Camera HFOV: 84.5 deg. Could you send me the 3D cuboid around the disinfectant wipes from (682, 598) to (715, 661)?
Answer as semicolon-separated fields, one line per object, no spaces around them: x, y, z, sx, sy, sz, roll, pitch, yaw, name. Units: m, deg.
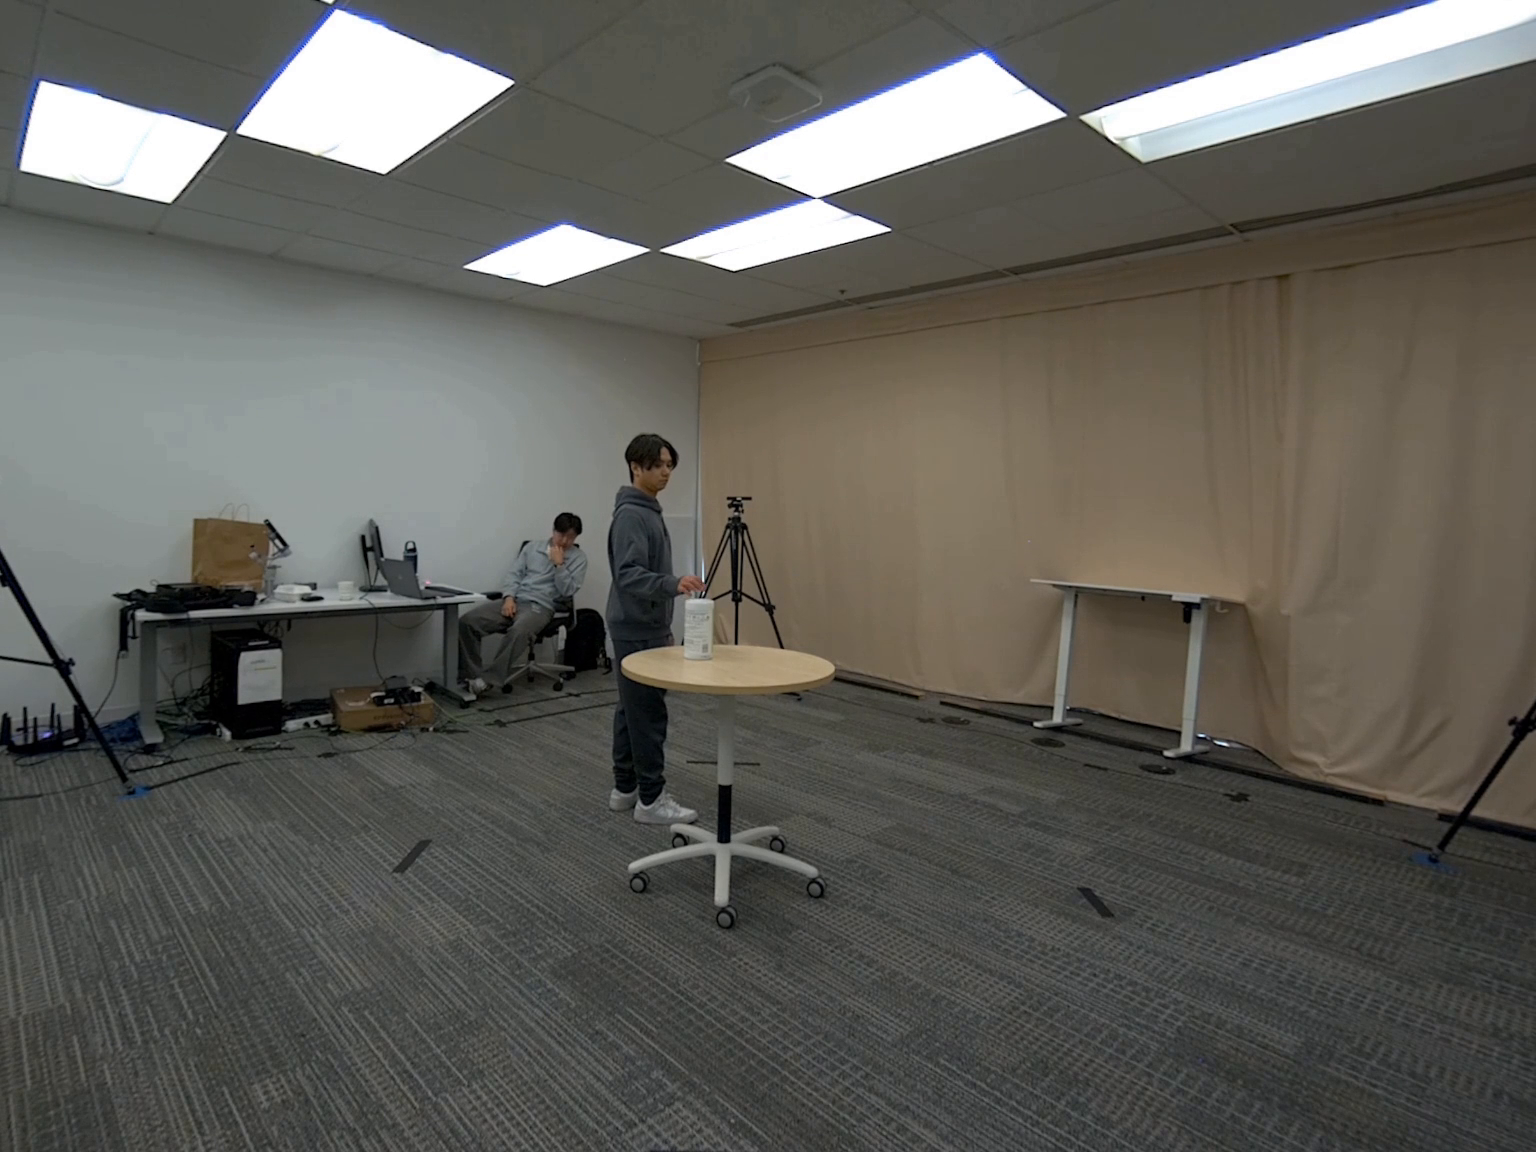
-0.259;0.200;3.116;0.118;0.217;0.118;1;1;-1;disinfectant wipes
